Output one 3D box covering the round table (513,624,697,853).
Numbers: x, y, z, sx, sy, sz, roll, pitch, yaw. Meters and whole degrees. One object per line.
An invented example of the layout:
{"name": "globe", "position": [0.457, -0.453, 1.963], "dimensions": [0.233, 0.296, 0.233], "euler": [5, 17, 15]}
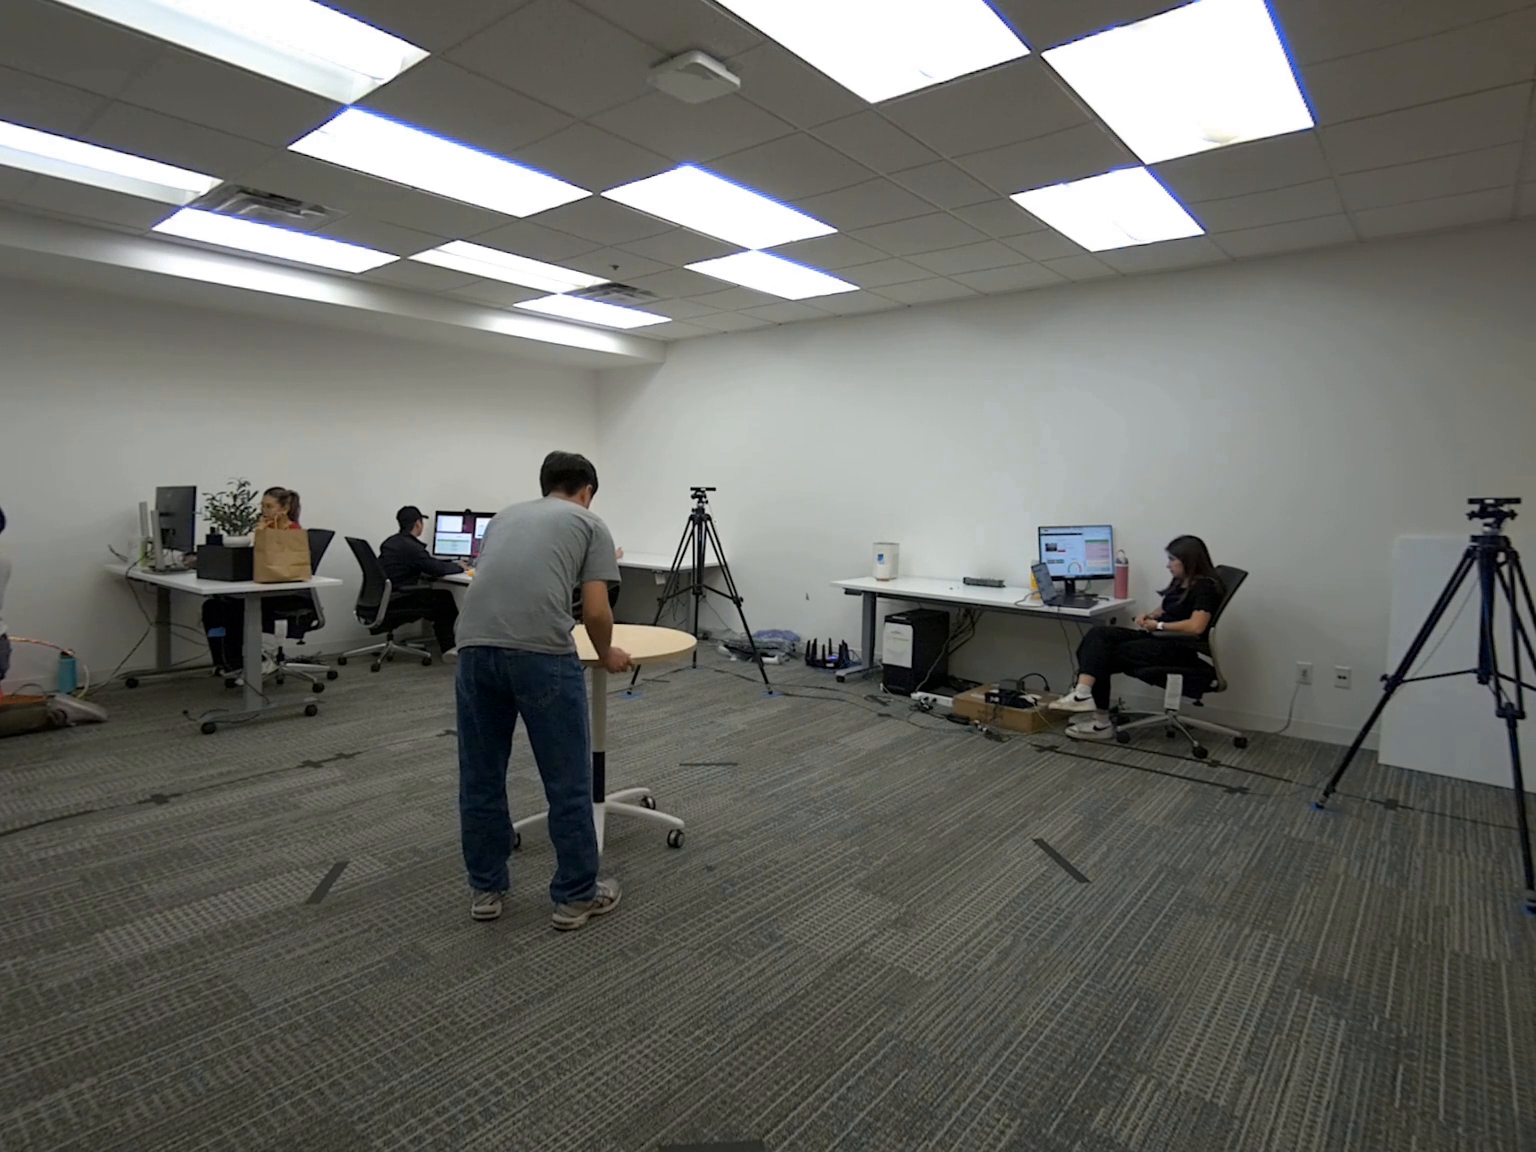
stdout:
{"name": "round table", "position": [-0.679, 0.643, 3.364], "dimensions": [0.763, 0.791, 0.768], "euler": [1, 4, -2]}
